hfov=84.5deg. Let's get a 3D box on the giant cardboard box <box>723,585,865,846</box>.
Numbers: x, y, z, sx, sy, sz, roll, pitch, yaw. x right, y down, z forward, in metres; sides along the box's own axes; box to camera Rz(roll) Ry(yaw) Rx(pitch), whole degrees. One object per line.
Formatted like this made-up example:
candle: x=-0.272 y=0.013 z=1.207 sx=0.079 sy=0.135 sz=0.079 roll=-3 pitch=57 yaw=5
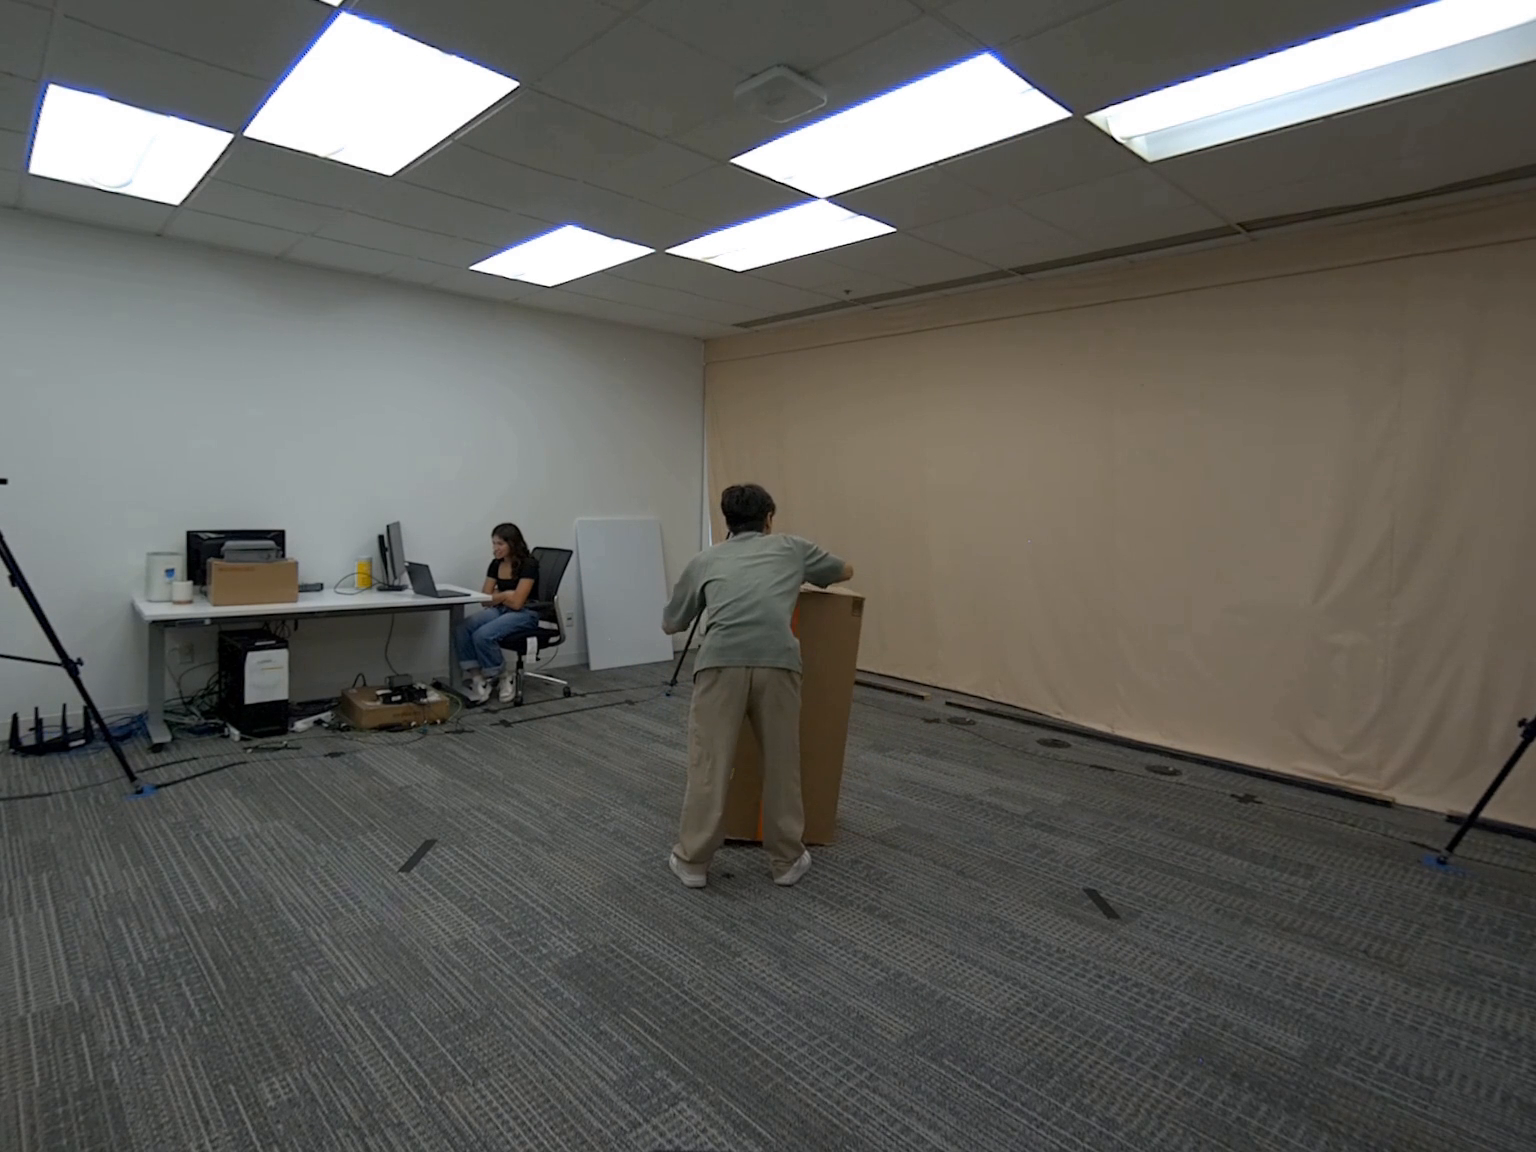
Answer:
giant cardboard box: x=0.022 y=0.540 z=3.559 sx=0.574 sy=1.024 sz=0.429 roll=6 pitch=2 yaw=-7
